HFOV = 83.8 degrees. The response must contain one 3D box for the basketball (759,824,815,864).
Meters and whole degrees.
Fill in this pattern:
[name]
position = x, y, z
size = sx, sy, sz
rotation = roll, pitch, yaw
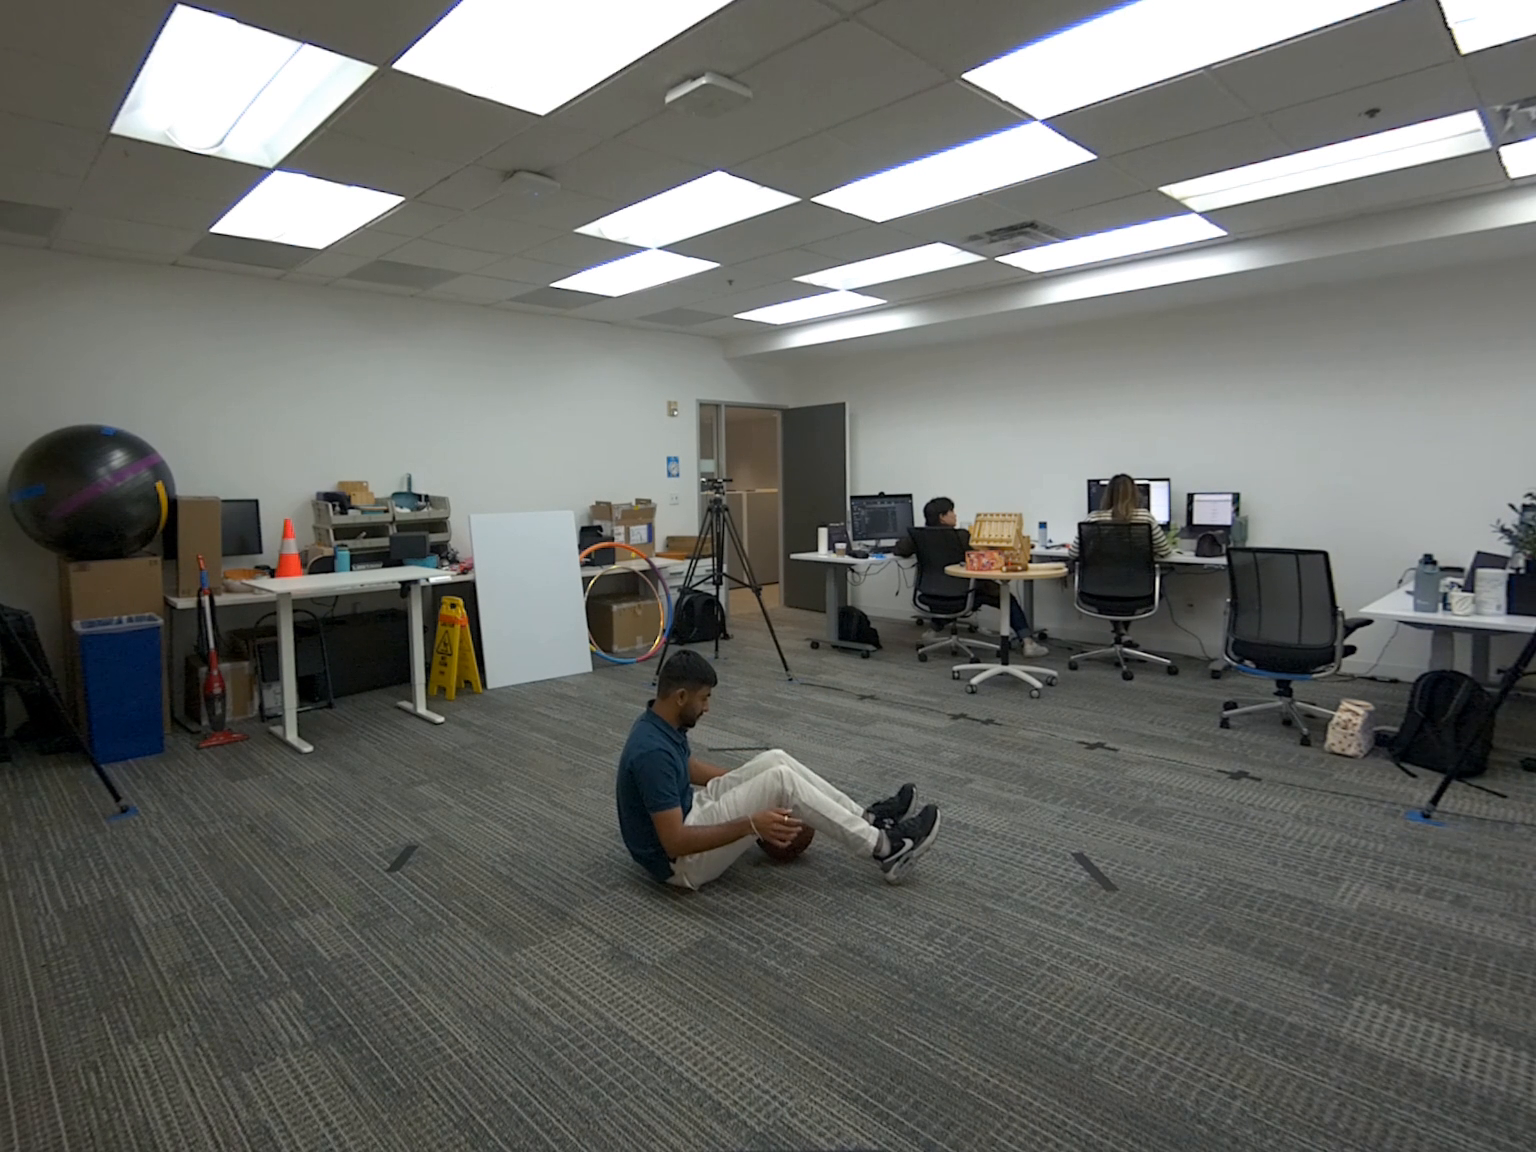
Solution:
[basketball]
position = 0.053, 0.906, 3.183
size = 0.236, 0.235, 0.237
rotation = -1, 5, -2
